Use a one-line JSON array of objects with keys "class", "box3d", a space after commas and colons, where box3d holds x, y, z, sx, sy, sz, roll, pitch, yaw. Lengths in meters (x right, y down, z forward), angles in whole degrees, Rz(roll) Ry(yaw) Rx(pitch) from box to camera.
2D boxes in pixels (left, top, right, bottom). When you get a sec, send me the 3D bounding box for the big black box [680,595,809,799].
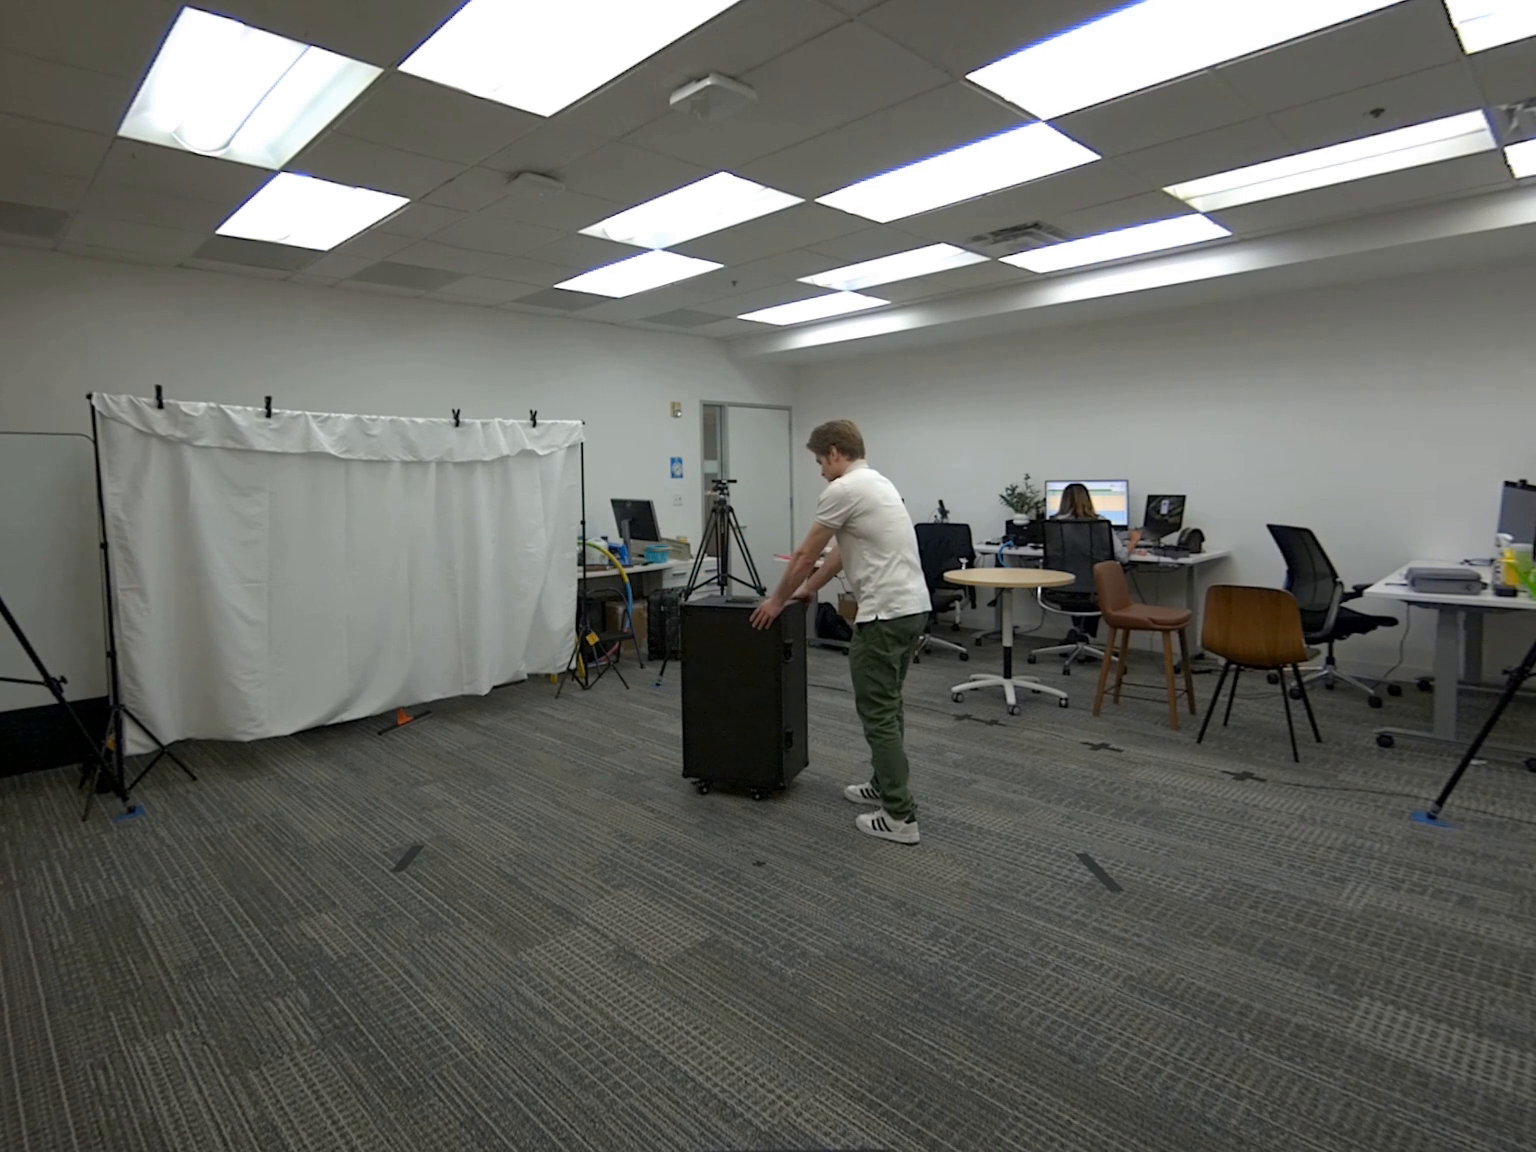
[{"class": "big black box", "box3d": [-0.106, 0.540, 3.890, 0.534, 0.866, 0.378, 1, 3, 21]}]
